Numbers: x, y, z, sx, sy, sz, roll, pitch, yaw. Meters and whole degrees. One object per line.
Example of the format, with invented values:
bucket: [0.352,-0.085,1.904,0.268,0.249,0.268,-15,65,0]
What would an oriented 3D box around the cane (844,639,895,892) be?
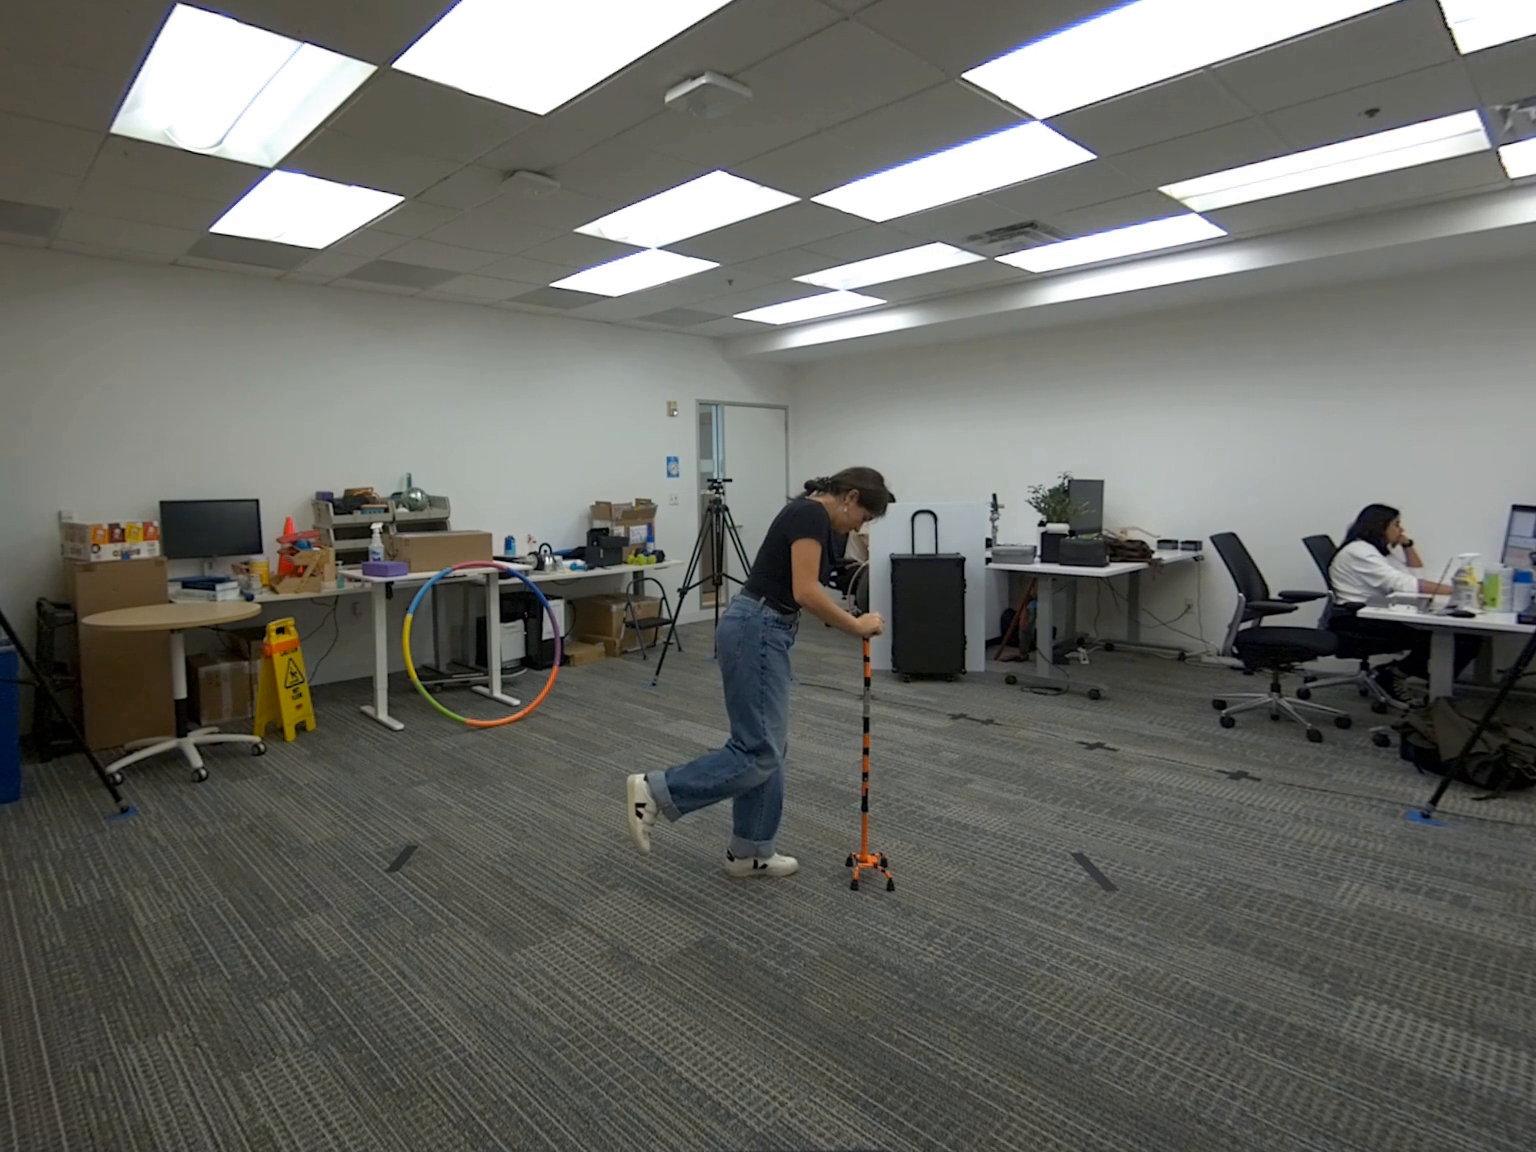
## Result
cane: [0.353,0.593,2.951,0.152,0.905,0.207,0,4,1]
